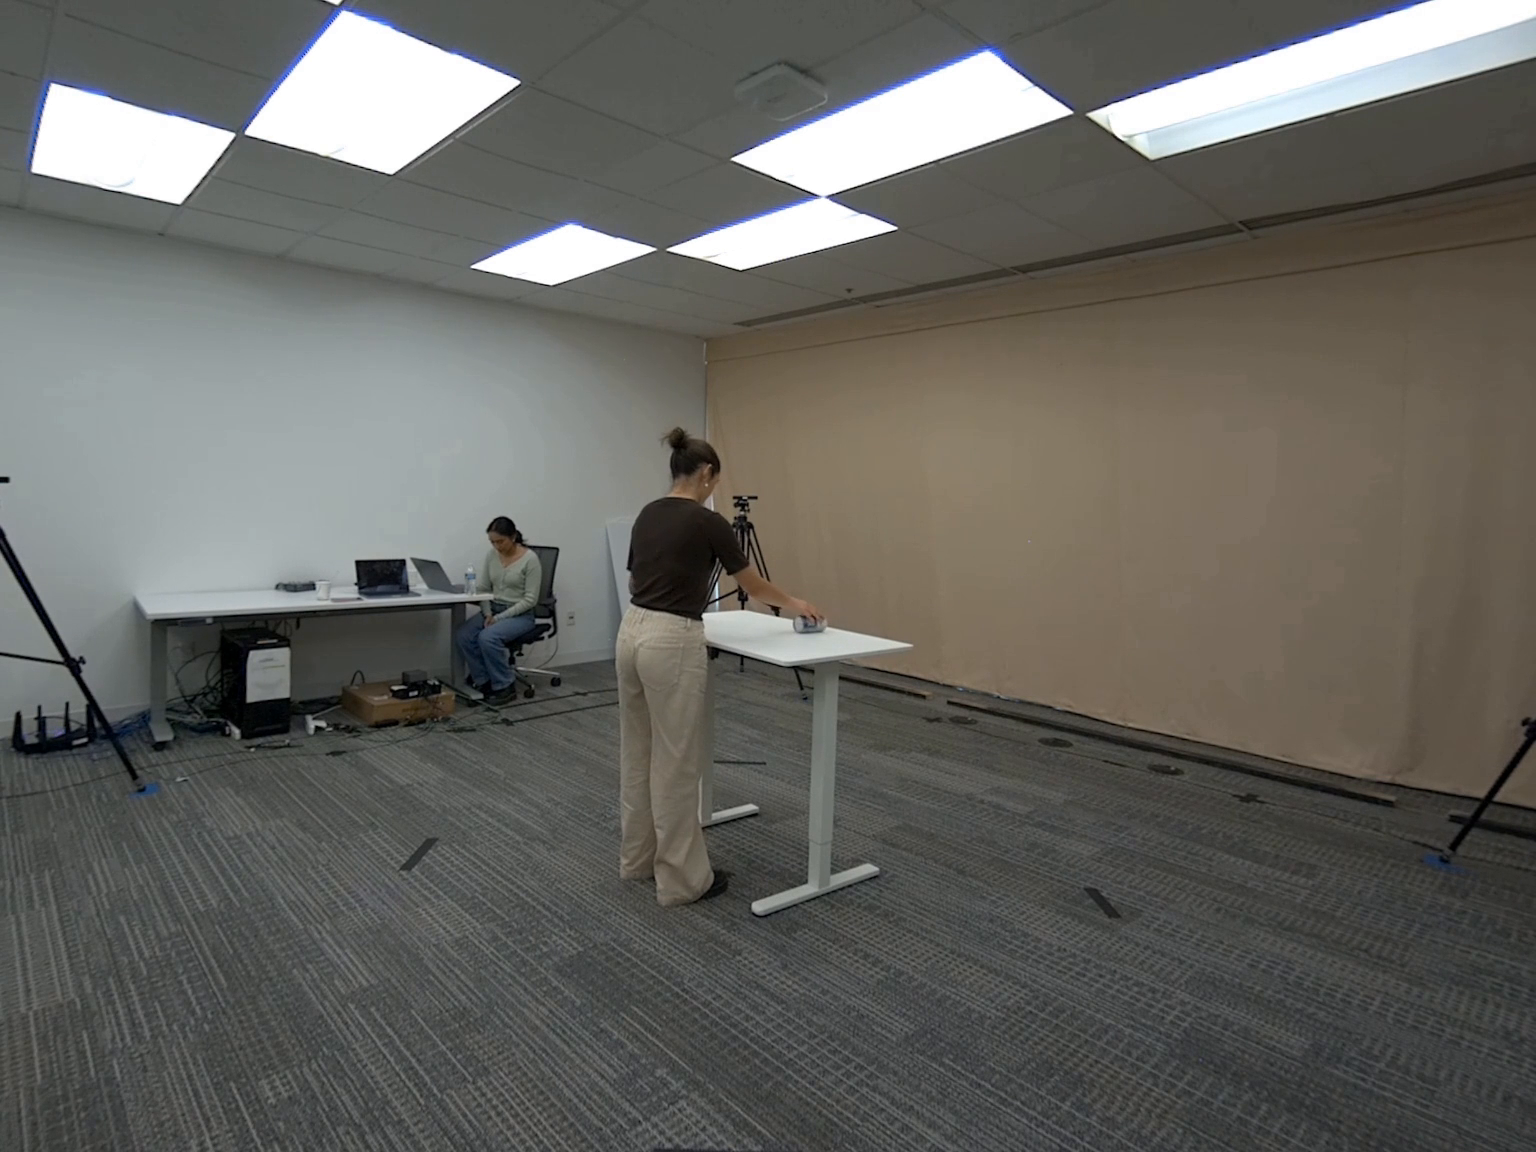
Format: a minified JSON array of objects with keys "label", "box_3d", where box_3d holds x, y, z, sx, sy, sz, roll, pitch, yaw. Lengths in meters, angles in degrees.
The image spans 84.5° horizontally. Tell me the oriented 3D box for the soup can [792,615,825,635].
[{"label":"soup can","box_3d":[0.155,0.187,3.220,0.120,0.067,0.068,0,5,-15]}]
